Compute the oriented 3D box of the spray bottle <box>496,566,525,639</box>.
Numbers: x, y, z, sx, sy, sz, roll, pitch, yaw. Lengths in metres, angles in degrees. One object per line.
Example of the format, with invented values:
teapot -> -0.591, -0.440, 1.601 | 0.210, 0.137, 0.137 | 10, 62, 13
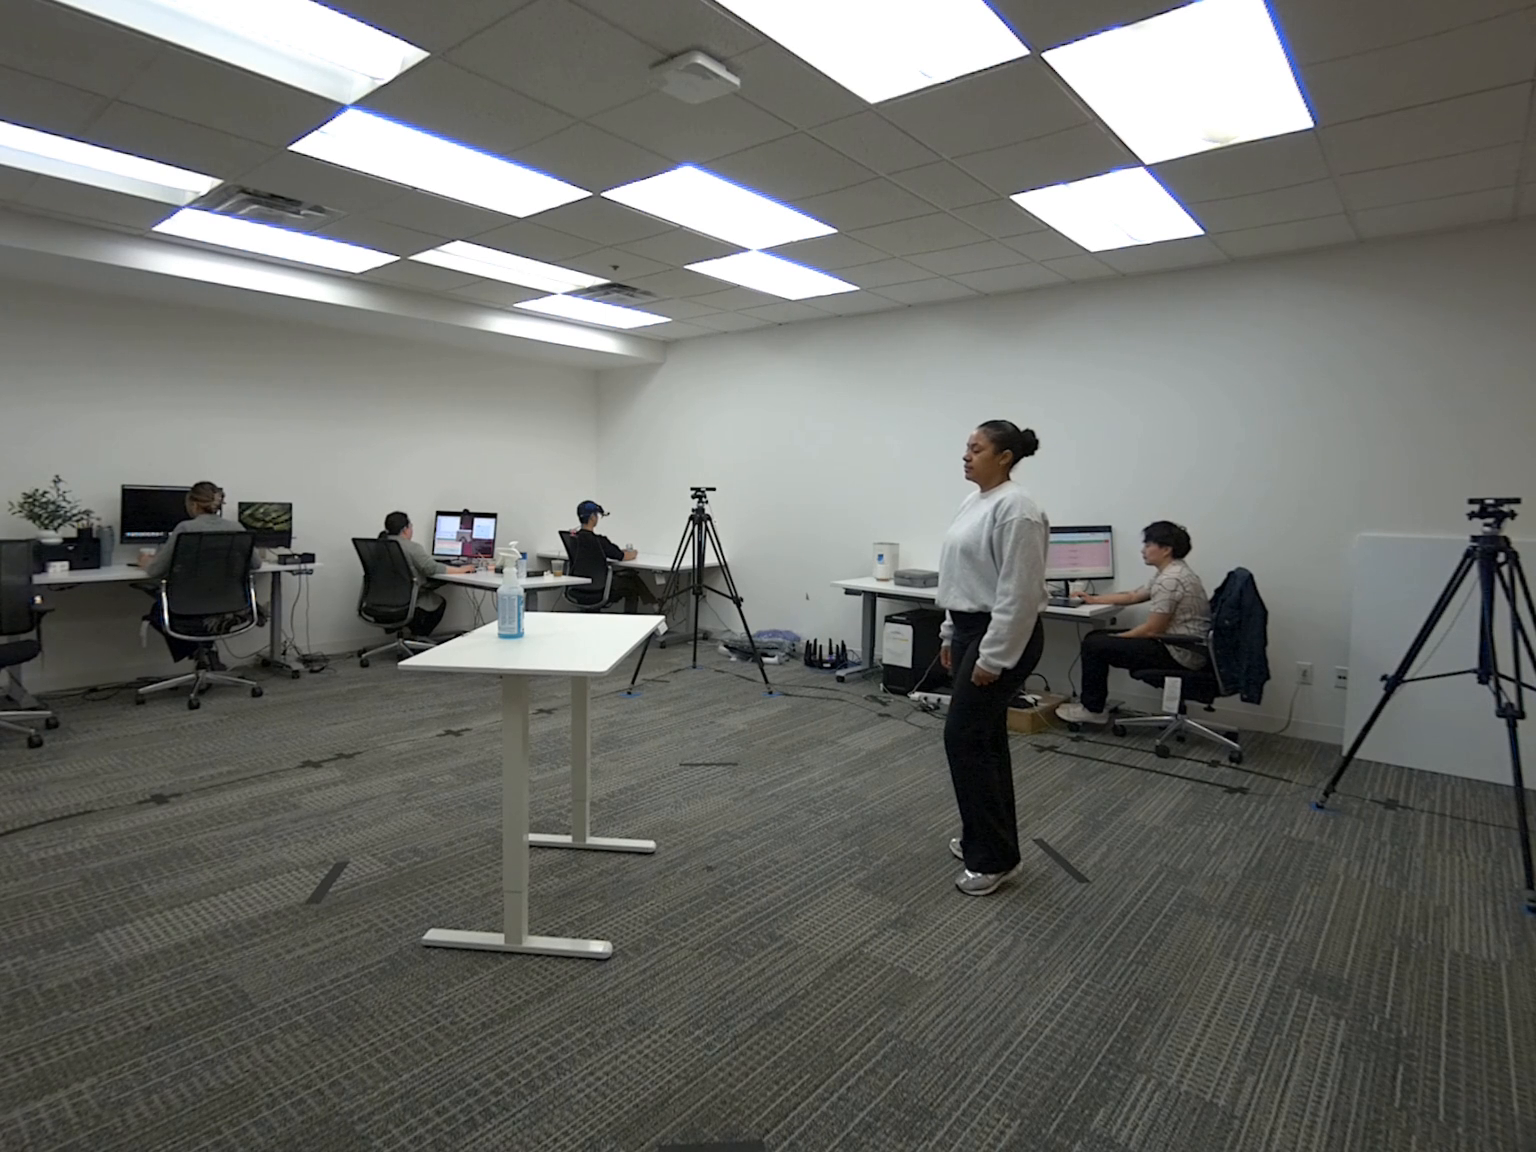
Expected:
spray bottle -> -0.876, 0.055, 2.848 | 0.093, 0.297, 0.084 | 0, 2, 34
